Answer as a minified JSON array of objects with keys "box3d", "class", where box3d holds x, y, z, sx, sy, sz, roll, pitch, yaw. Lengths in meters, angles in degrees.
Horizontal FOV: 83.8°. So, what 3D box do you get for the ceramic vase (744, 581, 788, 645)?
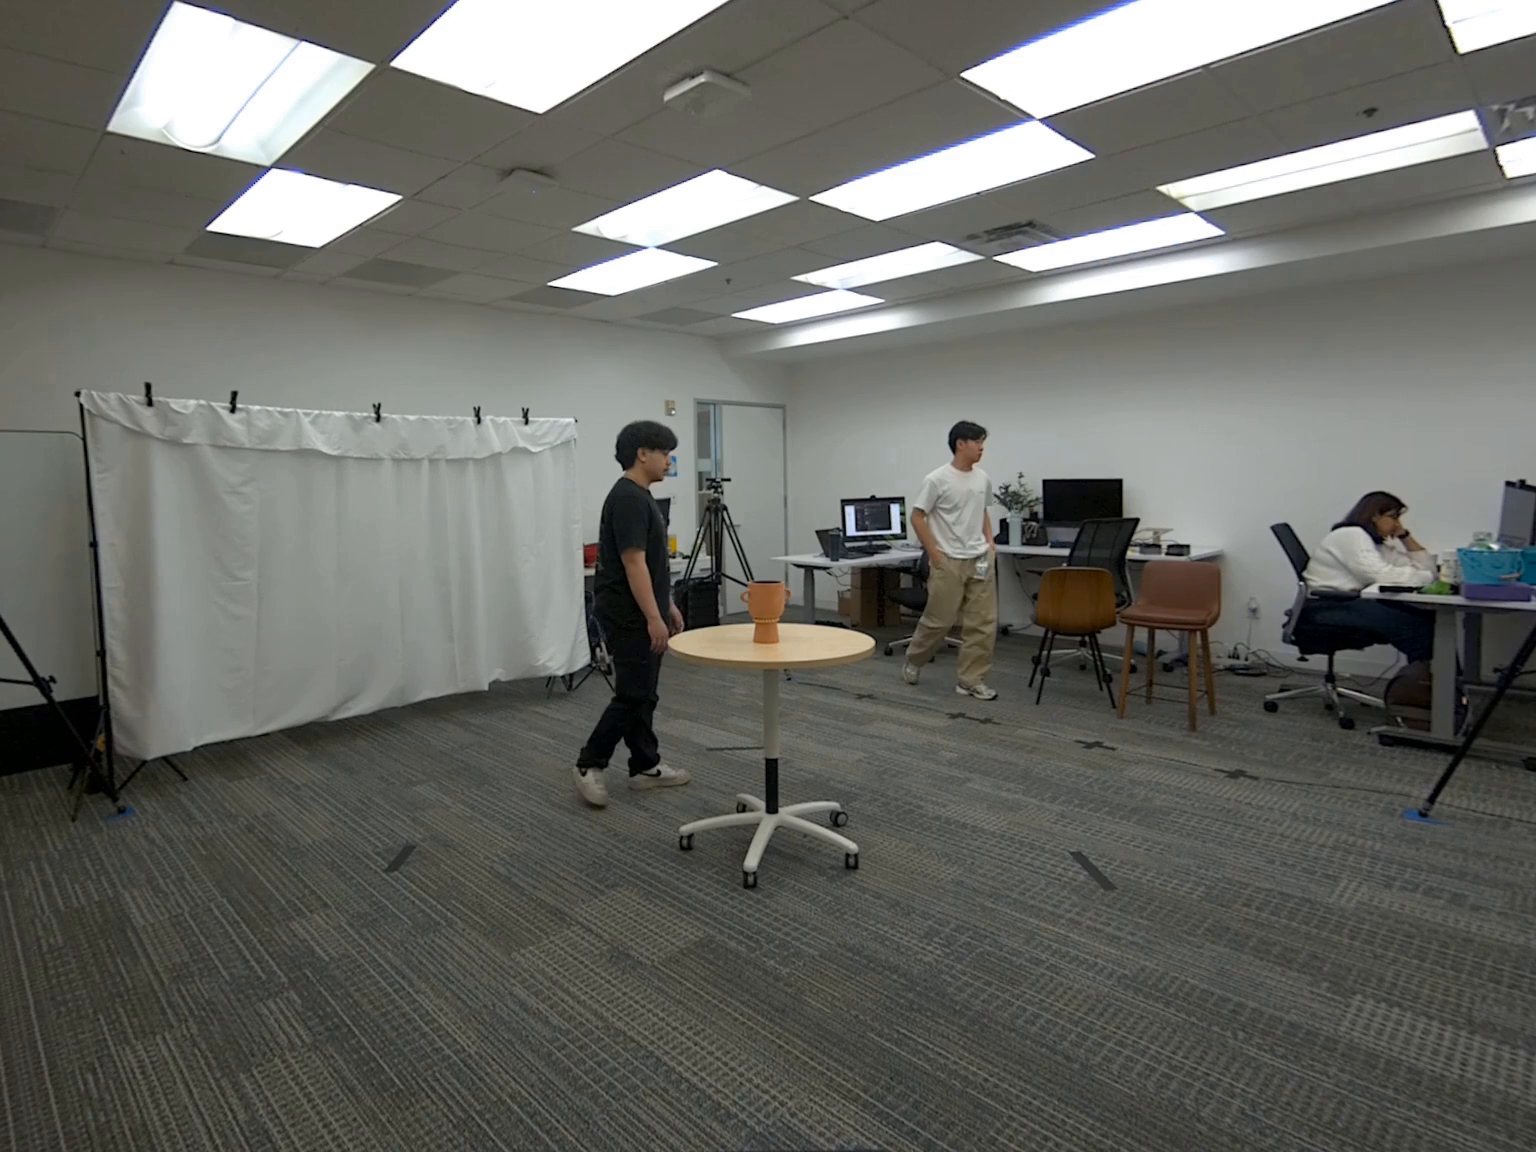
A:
[{"box3d":[-0.004,0.131,3.156,0.162,0.219,0.132,1,4,18],"class":"ceramic vase"}]
